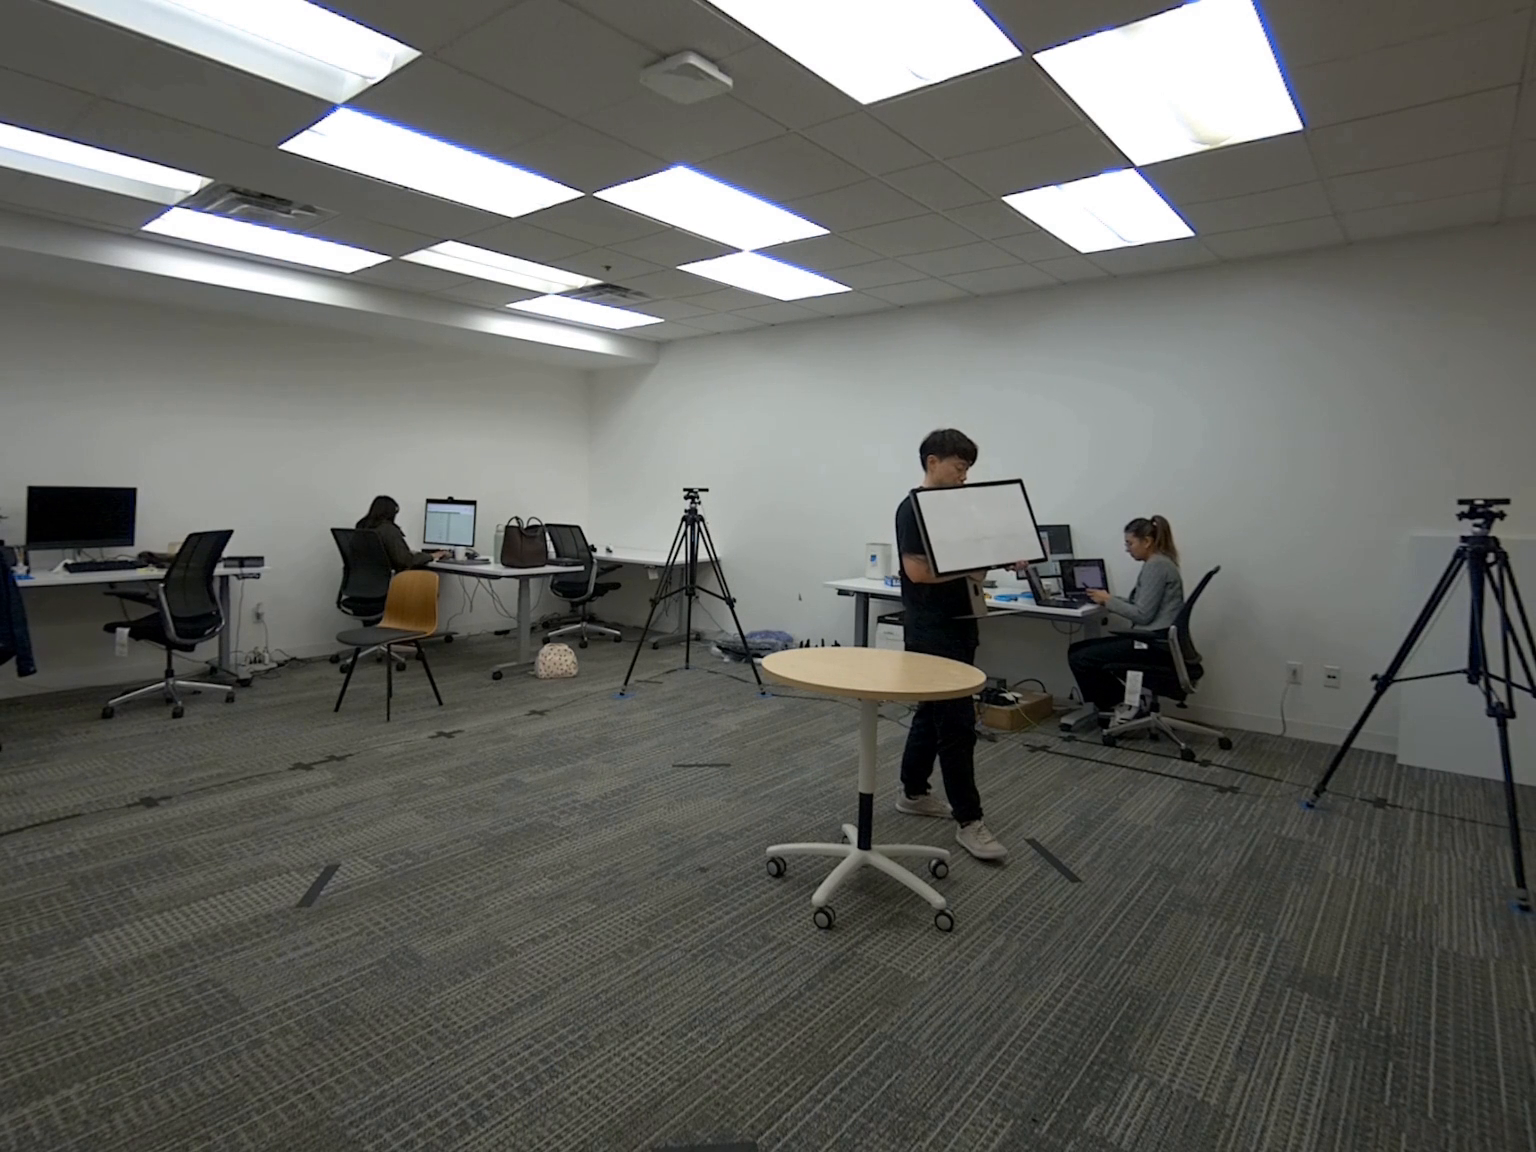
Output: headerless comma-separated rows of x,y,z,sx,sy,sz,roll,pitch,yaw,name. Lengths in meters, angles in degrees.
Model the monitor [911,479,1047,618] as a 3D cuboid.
0.853,-0.113,3.436,0.527,0.524,0.191,-7,-3,-27,monitor
